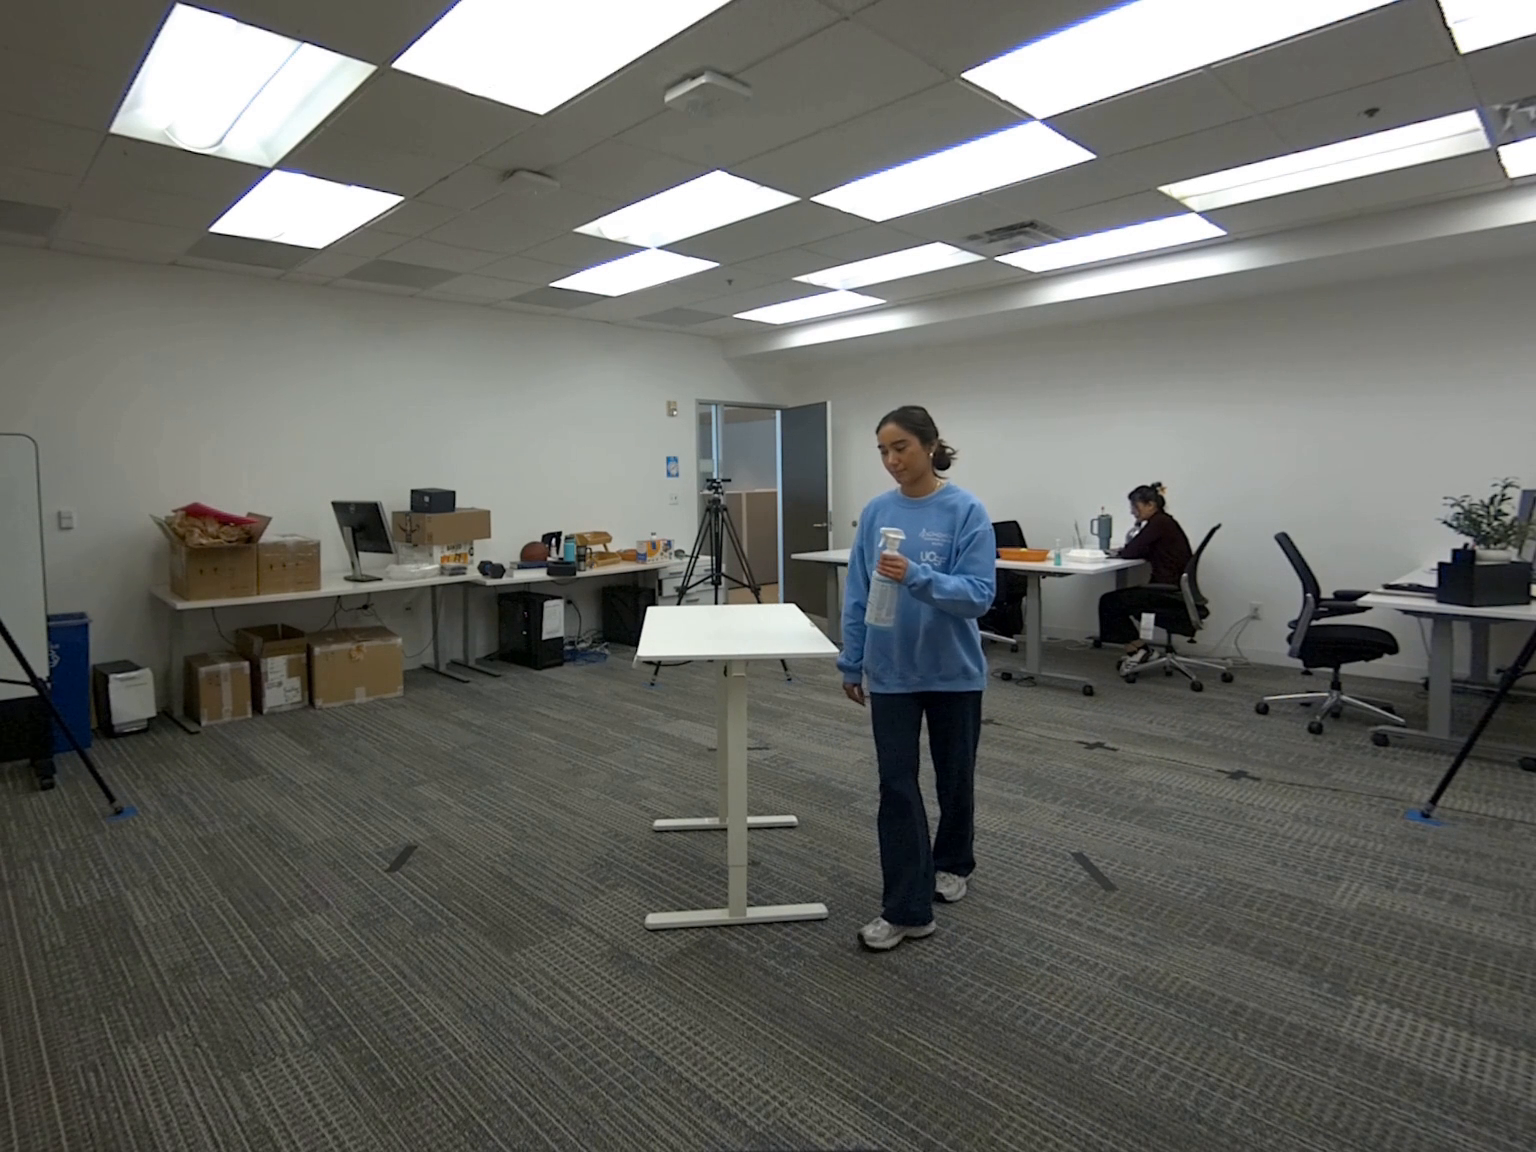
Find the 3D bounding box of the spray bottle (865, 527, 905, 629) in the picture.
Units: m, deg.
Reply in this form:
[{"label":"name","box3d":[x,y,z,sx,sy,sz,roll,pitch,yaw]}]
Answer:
[{"label":"spray bottle","box3d":[0.343,0.005,2.466,0.090,0.294,0.088,7,13,-3]}]
